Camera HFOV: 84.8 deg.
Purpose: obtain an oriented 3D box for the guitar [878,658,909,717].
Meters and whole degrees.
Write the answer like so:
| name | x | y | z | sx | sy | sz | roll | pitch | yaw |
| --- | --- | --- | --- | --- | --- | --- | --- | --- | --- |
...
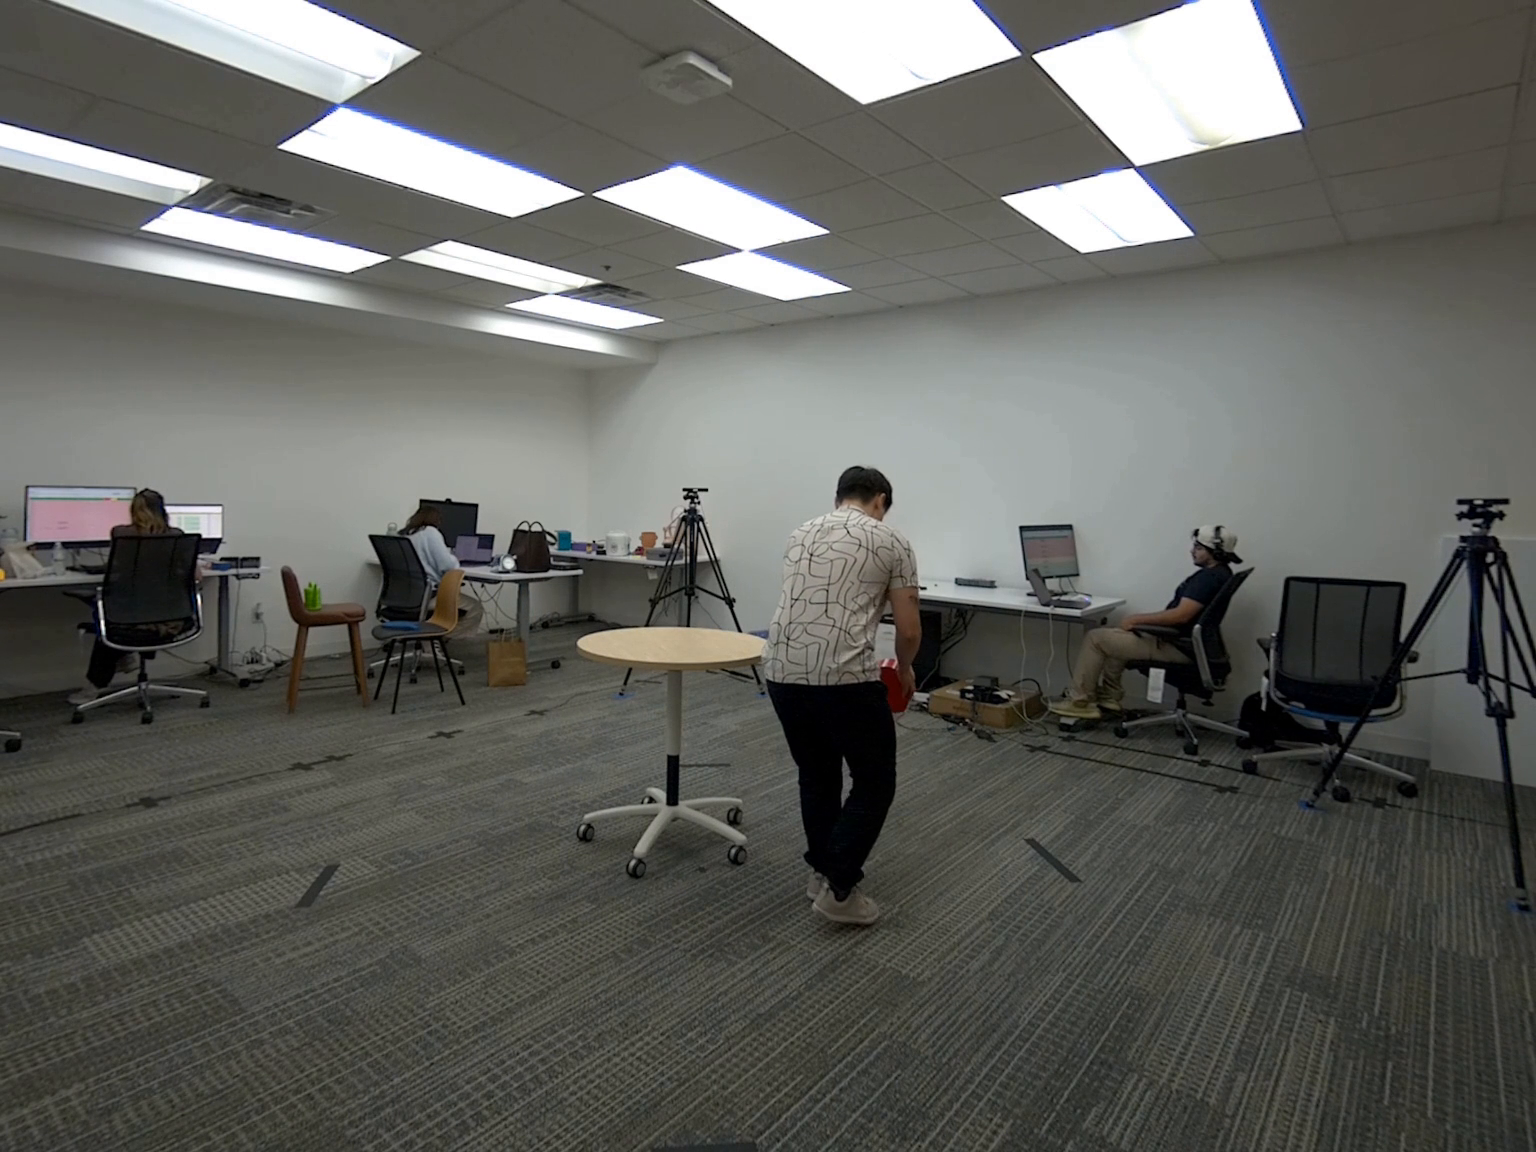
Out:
| name | x | y | z | sx | sy | sz | roll | pitch | yaw |
| --- | --- | --- | --- | --- | --- | --- | --- | --- | --- |
| guitar | 0.294 | 0.425 | 3.164 | 0.509 | 0.189 | 0.070 | -13 | 17 | 33 |
